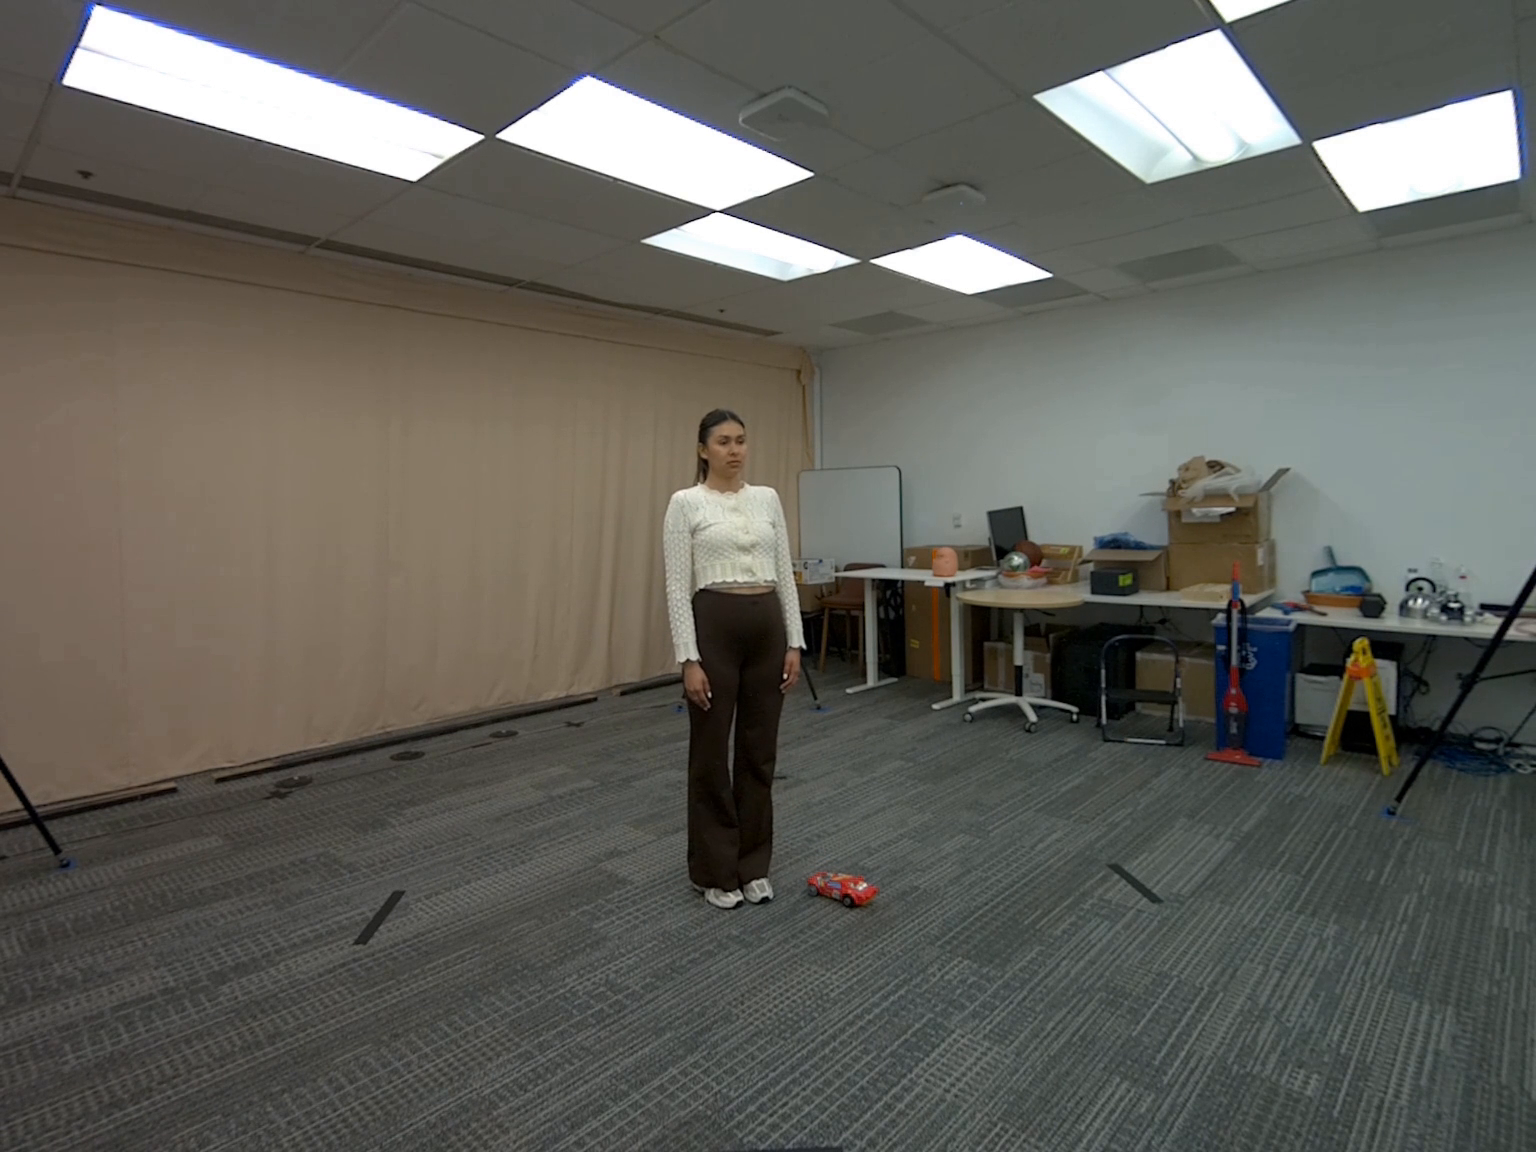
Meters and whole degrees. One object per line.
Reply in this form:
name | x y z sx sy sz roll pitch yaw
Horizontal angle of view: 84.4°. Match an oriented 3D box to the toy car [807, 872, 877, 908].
toy car | 0.275 1.111 2.963 0.261 0.083 0.126 -11 -2 40
